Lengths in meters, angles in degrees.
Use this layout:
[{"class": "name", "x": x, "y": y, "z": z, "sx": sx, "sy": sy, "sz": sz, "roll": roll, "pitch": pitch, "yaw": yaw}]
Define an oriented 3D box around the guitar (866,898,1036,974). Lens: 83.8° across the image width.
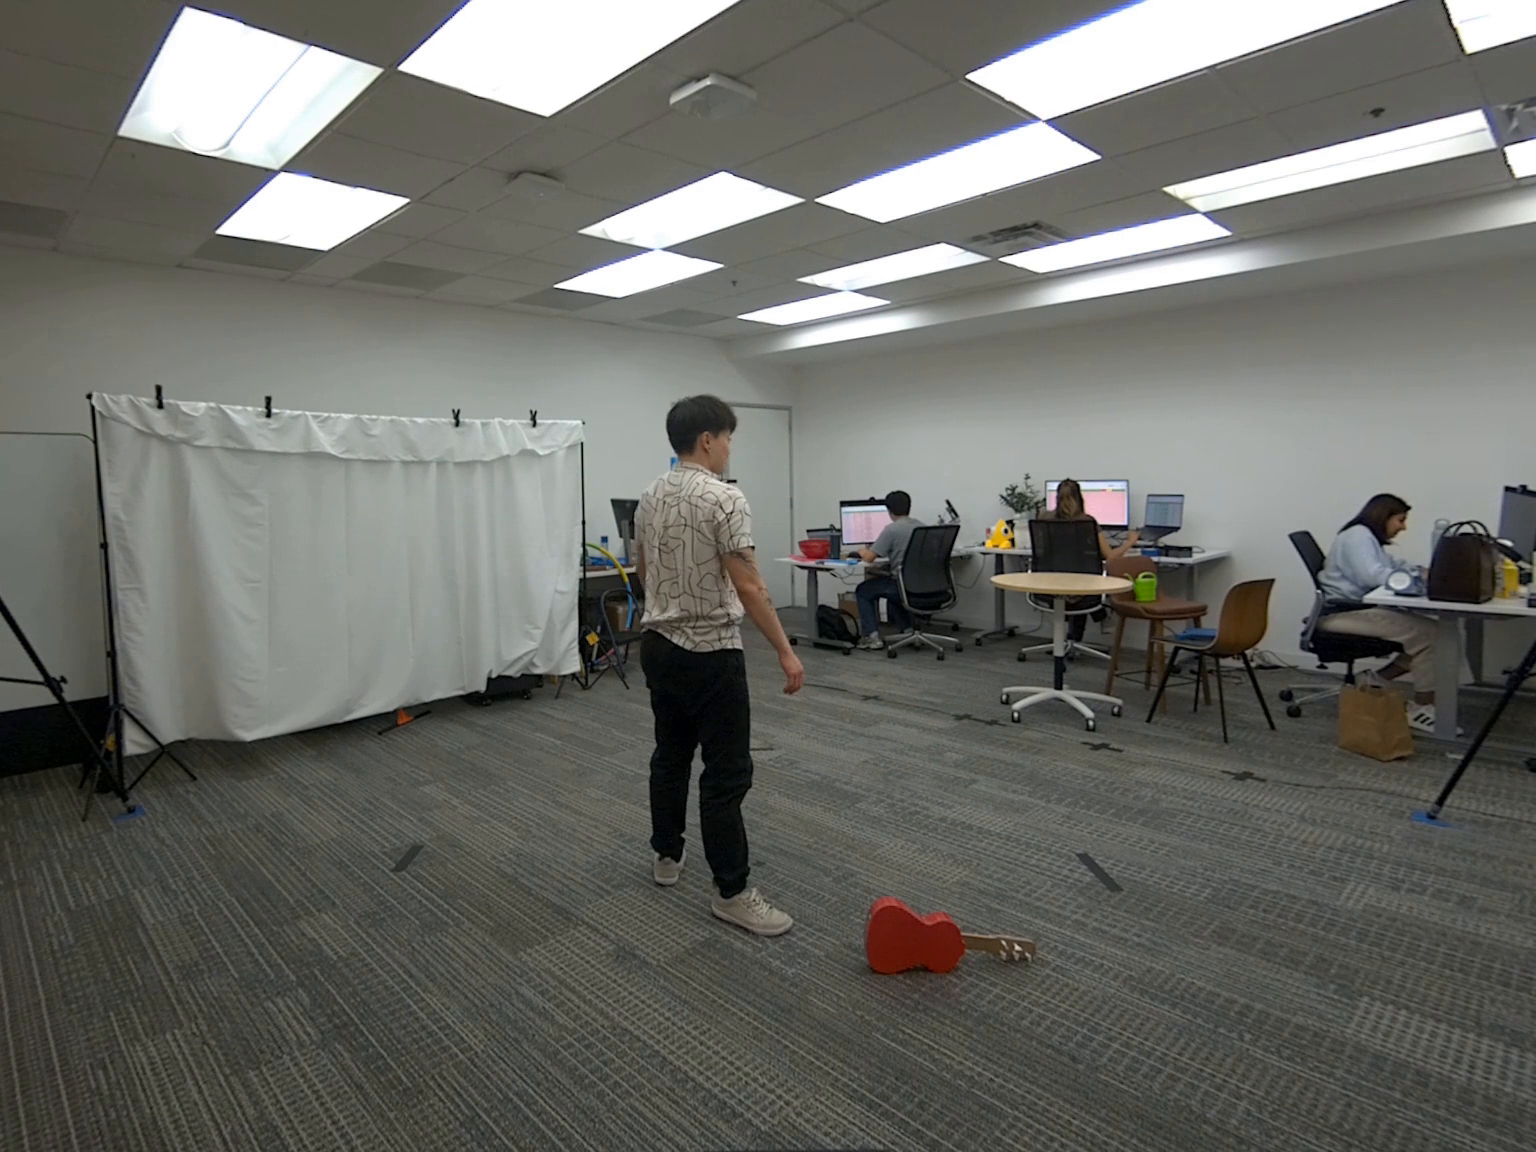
[{"class": "guitar", "x": 0.533, "y": 1.026, "z": 2.433, "sx": 0.497, "sy": 0.193, "sz": 0.071, "roll": 0, "pitch": -1, "yaw": -1}]
